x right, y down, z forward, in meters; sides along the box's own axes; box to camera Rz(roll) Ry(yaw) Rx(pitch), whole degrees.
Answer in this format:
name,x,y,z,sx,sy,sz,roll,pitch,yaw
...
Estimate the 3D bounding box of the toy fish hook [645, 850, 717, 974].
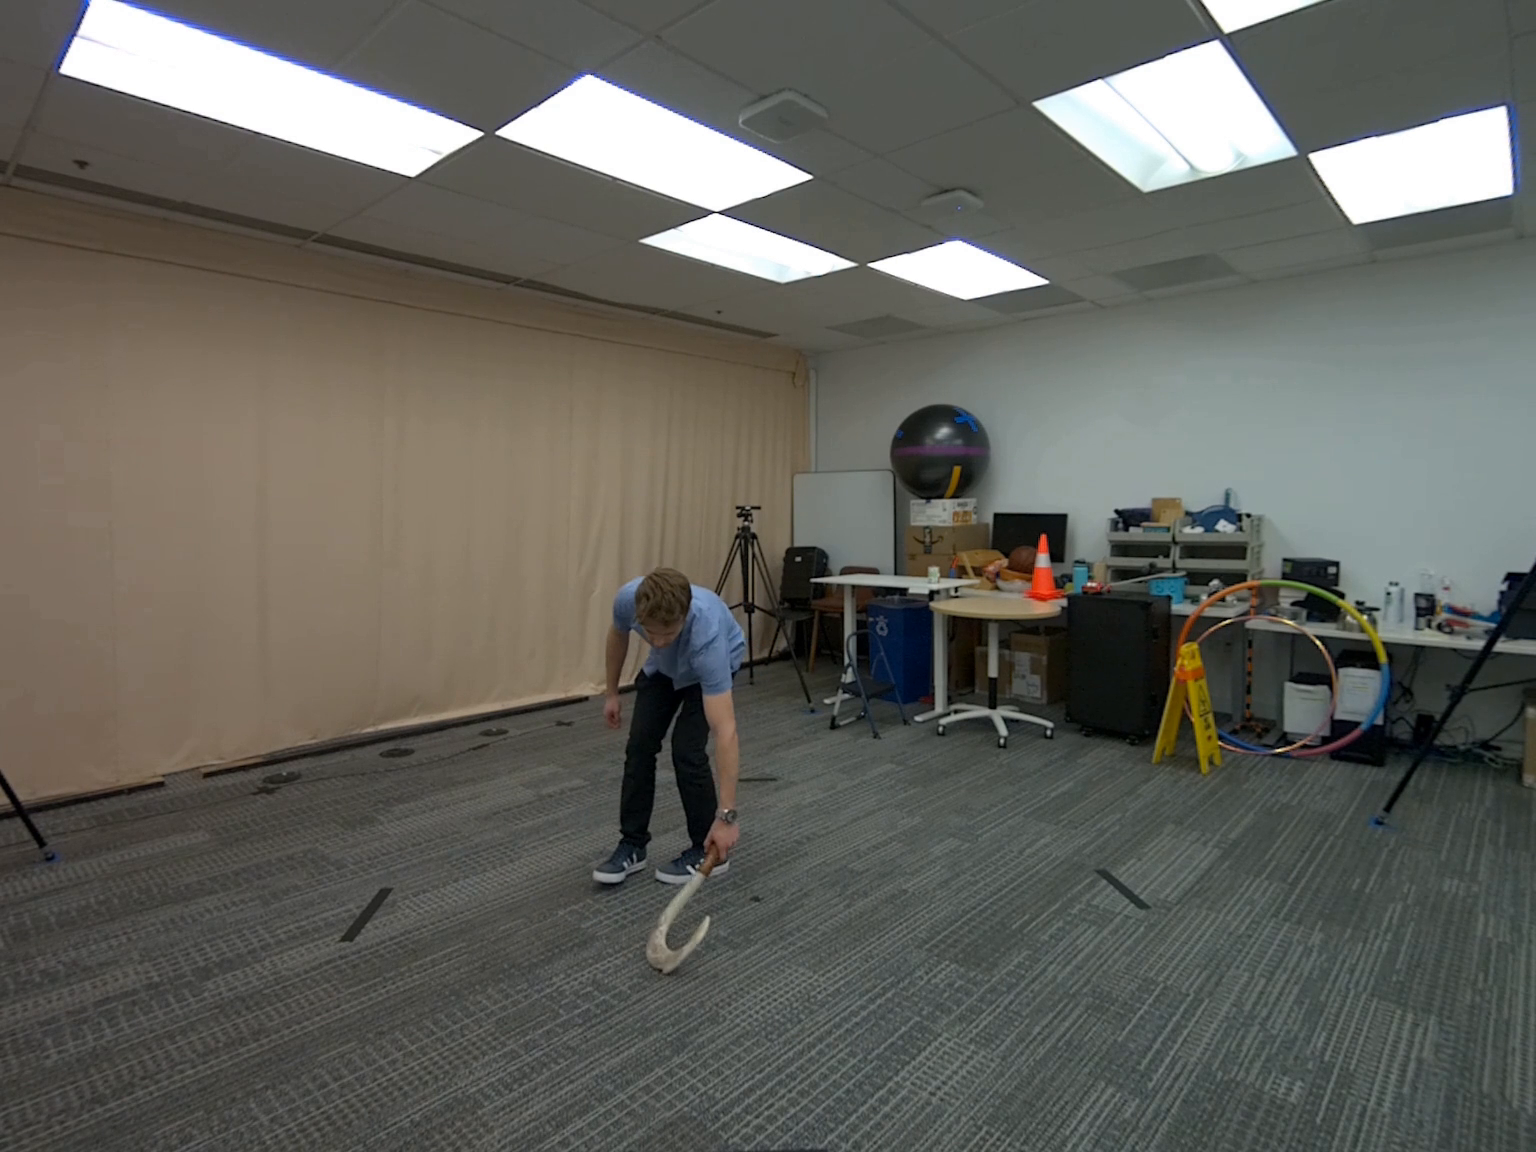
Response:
name,x,y,z,sx,sy,sz,roll,pitch,yaw
toy fish hook,-0.205,0.988,2.643,0.231,0.505,0.047,-4,-46,49
